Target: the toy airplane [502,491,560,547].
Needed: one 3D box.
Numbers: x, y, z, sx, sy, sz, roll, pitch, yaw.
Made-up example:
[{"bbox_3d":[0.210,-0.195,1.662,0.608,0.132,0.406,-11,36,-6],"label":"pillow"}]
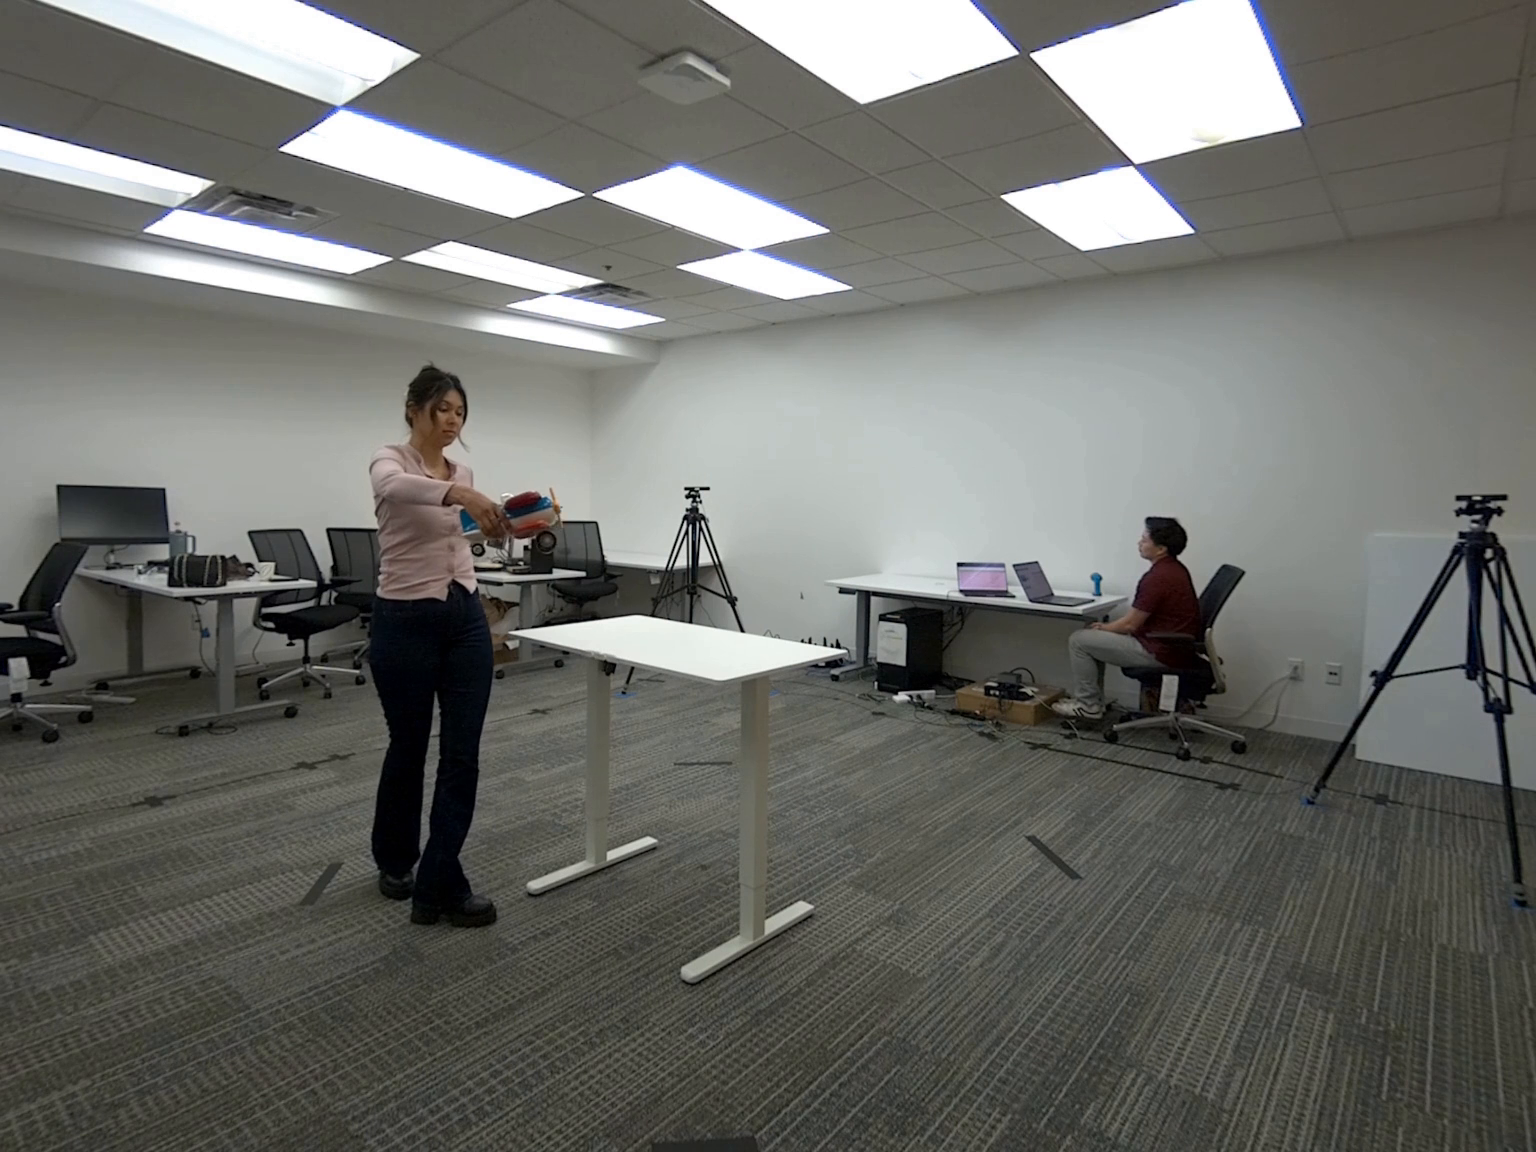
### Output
[{"bbox_3d":[-0.678,-0.139,2.230,0.251,0.157,0.258,-3,-2,-39],"label":"toy airplane"}]
